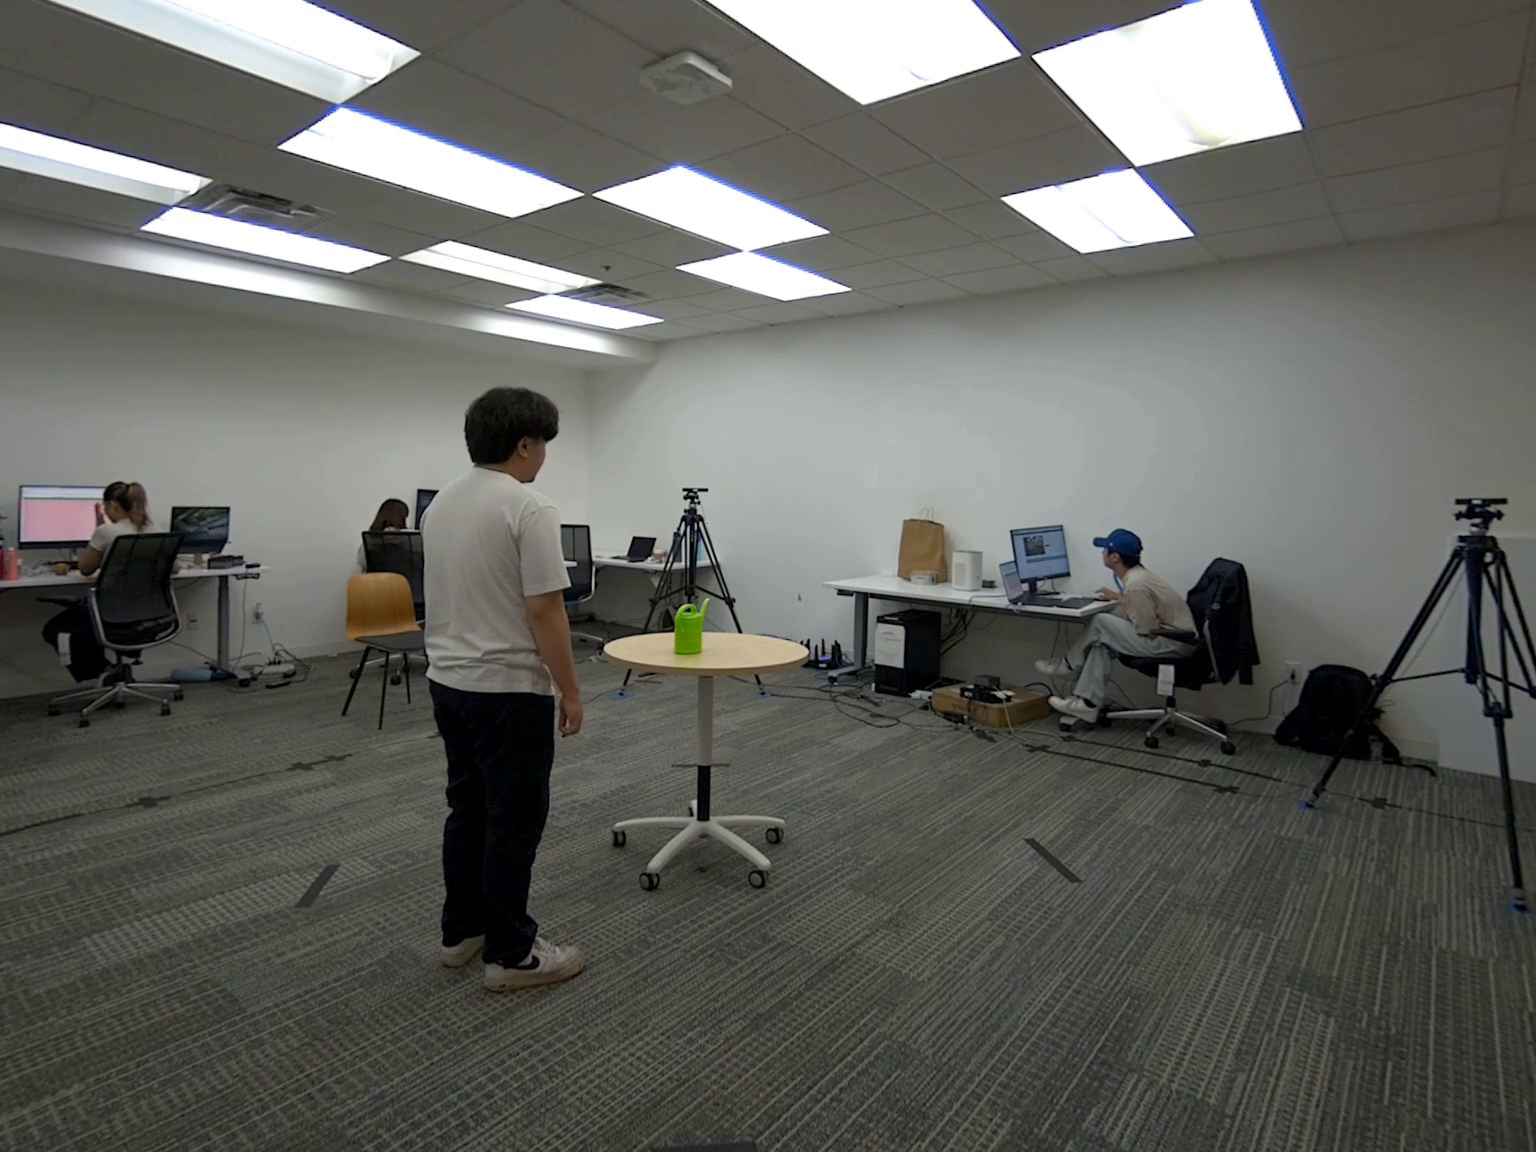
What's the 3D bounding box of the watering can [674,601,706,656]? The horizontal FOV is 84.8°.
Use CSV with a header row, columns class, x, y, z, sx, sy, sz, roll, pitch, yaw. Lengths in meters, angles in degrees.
class,x,y,z,sx,sy,sz,roll,pitch,yaw
watering can,-0.278,0.186,3.145,0.101,0.176,0.271,0,4,34
